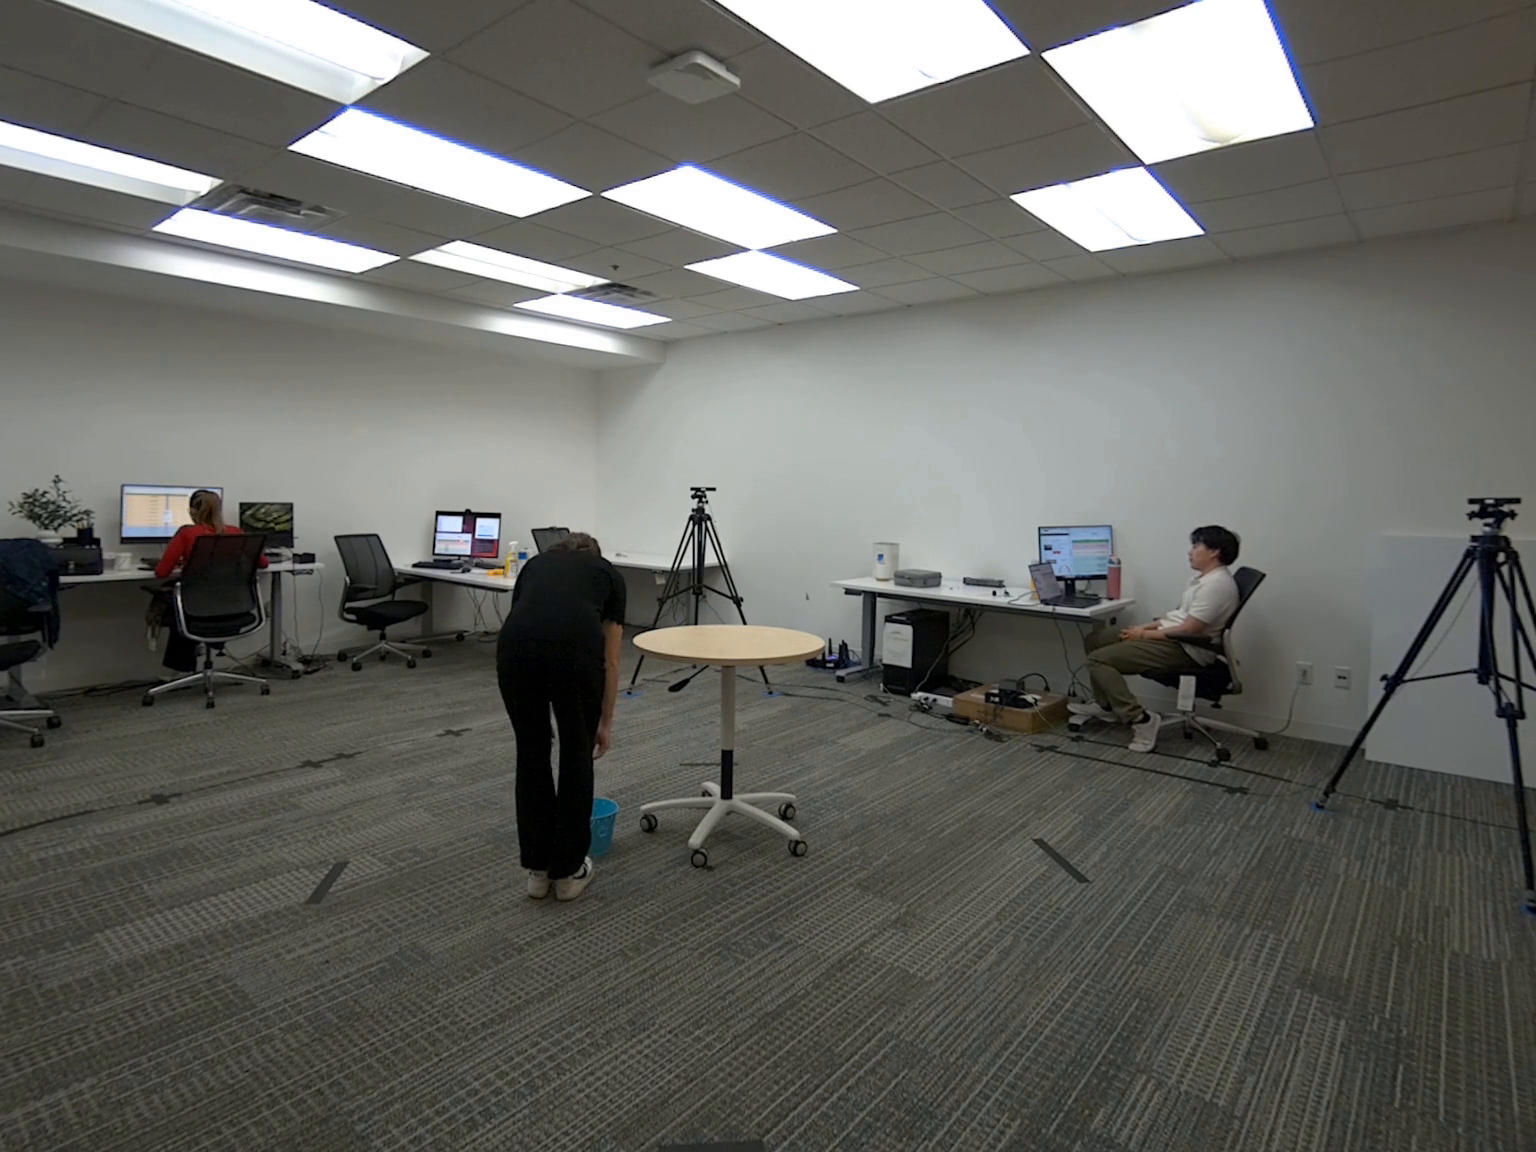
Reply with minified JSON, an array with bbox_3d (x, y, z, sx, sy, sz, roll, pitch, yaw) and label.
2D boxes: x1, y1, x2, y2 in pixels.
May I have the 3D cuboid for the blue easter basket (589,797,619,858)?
[{"bbox_3d":[-0.697,0.964,3.274,0.243,0.155,0.245,1,5,-2],"label":"blue easter basket"}]
